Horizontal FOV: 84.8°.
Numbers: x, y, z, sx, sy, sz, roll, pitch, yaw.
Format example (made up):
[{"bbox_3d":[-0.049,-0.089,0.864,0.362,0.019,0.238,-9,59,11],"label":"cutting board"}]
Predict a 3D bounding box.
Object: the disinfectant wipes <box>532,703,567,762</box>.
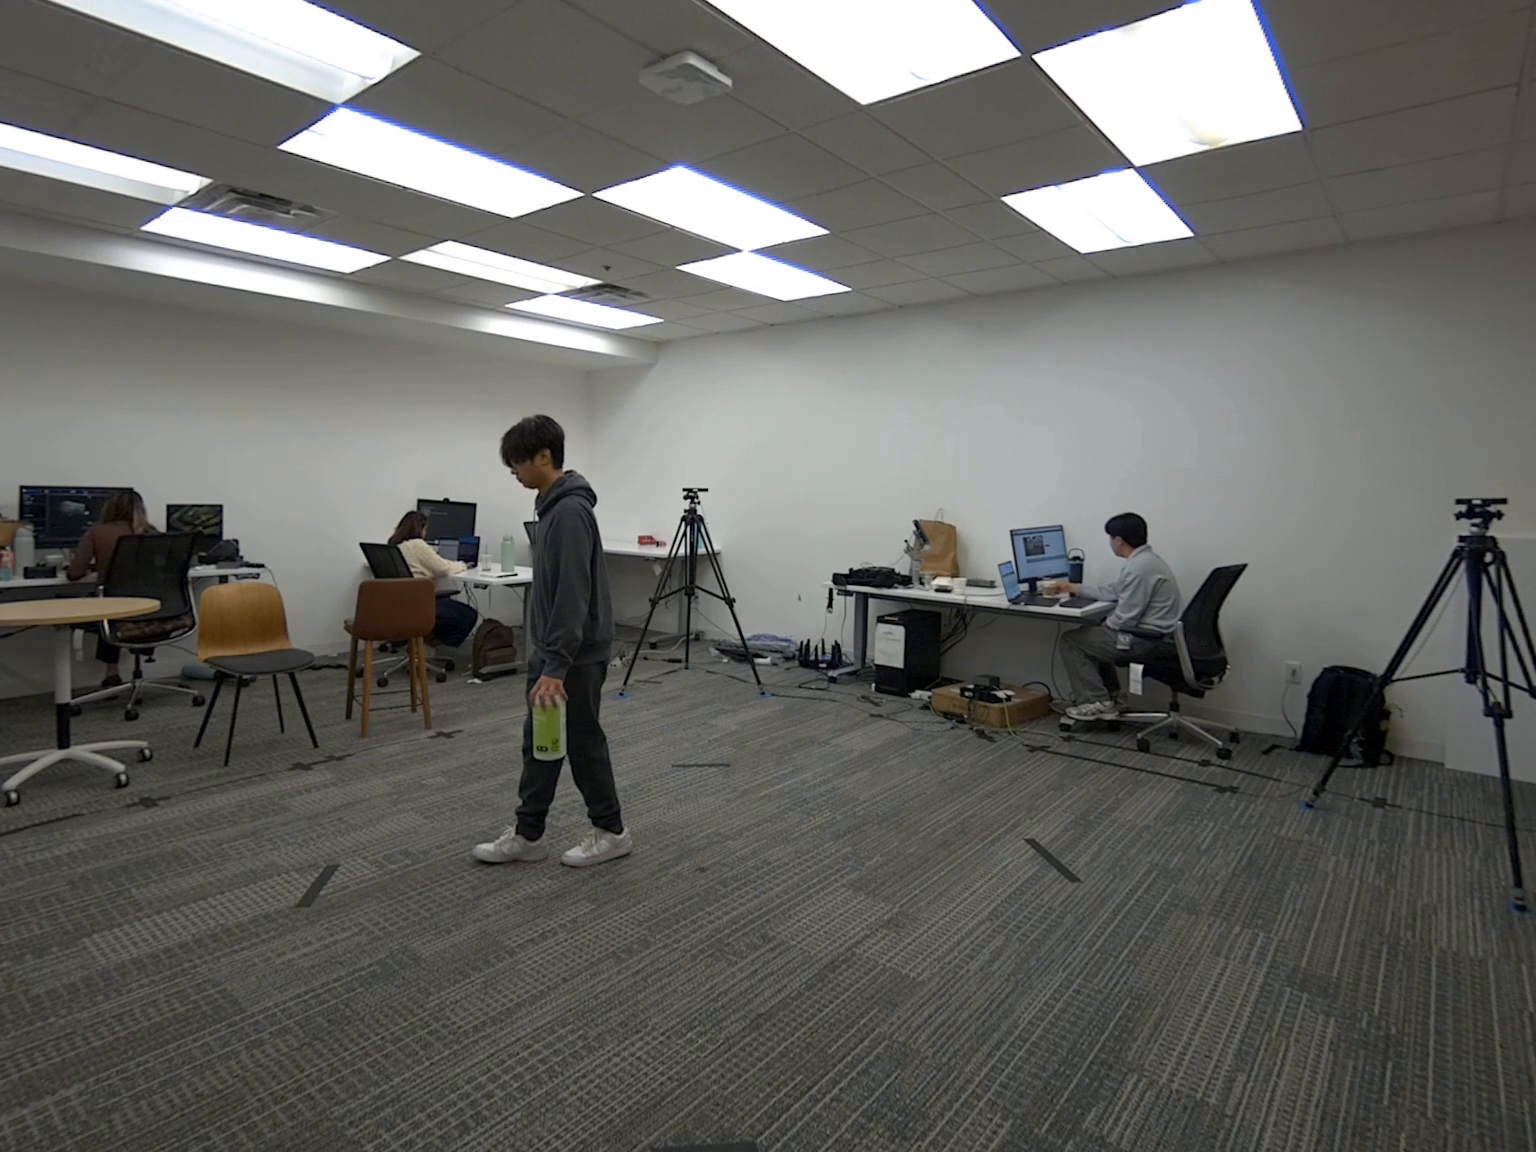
[{"bbox_3d":[-0.741,0.490,2.831,0.118,0.216,0.118,-2,5,-2],"label":"disinfectant wipes"}]
